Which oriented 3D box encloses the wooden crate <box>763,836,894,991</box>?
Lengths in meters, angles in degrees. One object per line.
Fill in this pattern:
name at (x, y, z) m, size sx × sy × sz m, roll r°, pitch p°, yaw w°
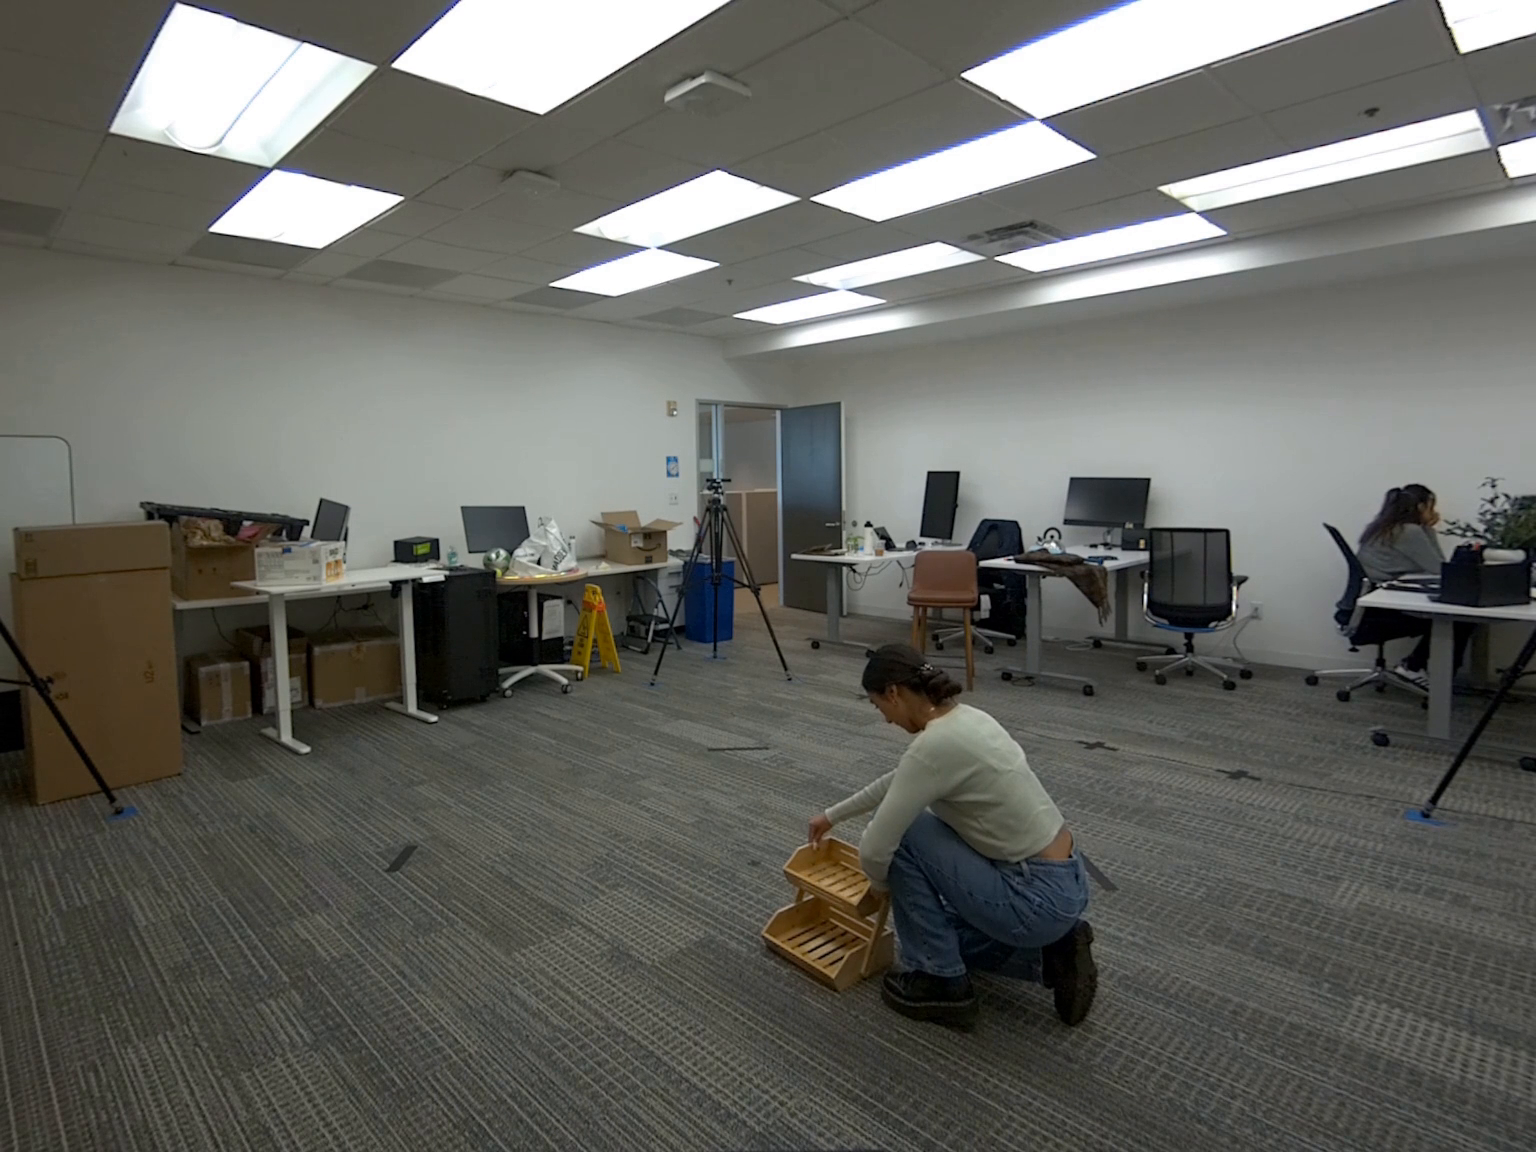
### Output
wooden crate at (0.193, 0.976, 2.507) m, size 0.294 × 0.272 × 0.334 m, roll -4°, pitch 6°, yaw -40°
